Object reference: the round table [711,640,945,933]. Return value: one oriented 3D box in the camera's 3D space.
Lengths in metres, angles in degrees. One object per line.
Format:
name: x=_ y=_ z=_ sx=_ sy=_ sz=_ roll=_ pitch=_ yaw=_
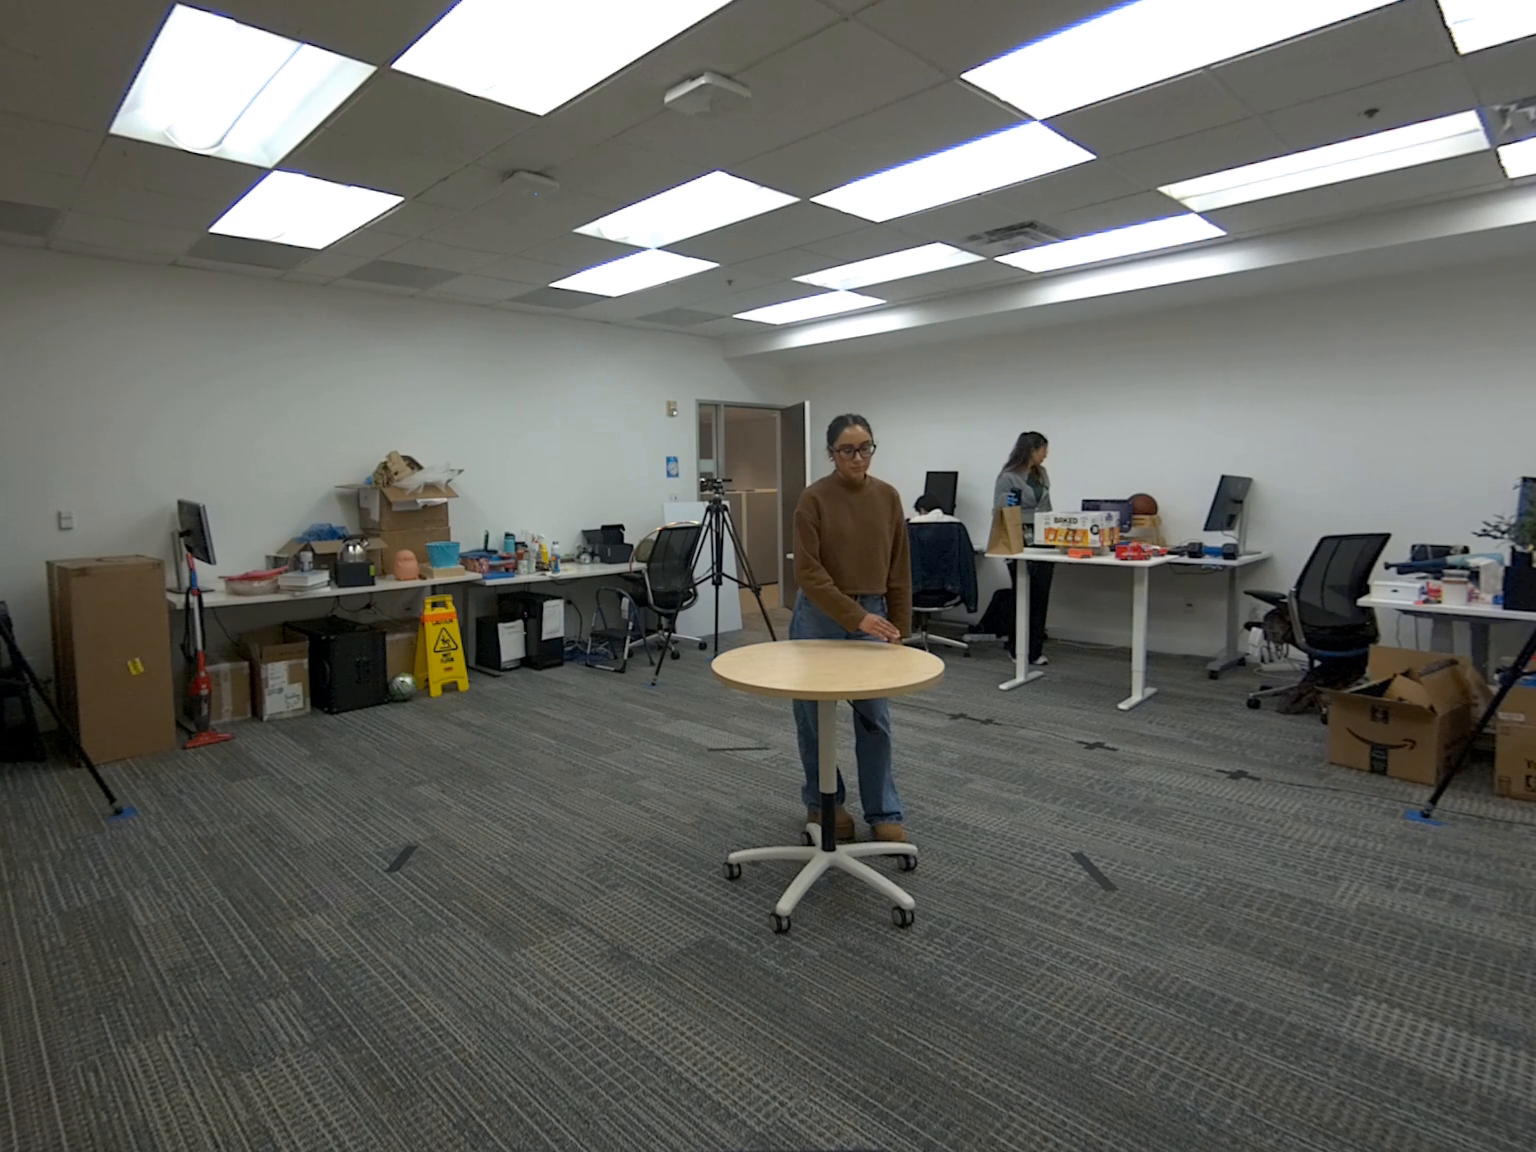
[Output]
round table: x=0.204 y=0.678 z=2.873 sx=0.763 sy=0.791 sz=0.768 roll=-1 pitch=5 yaw=-2
